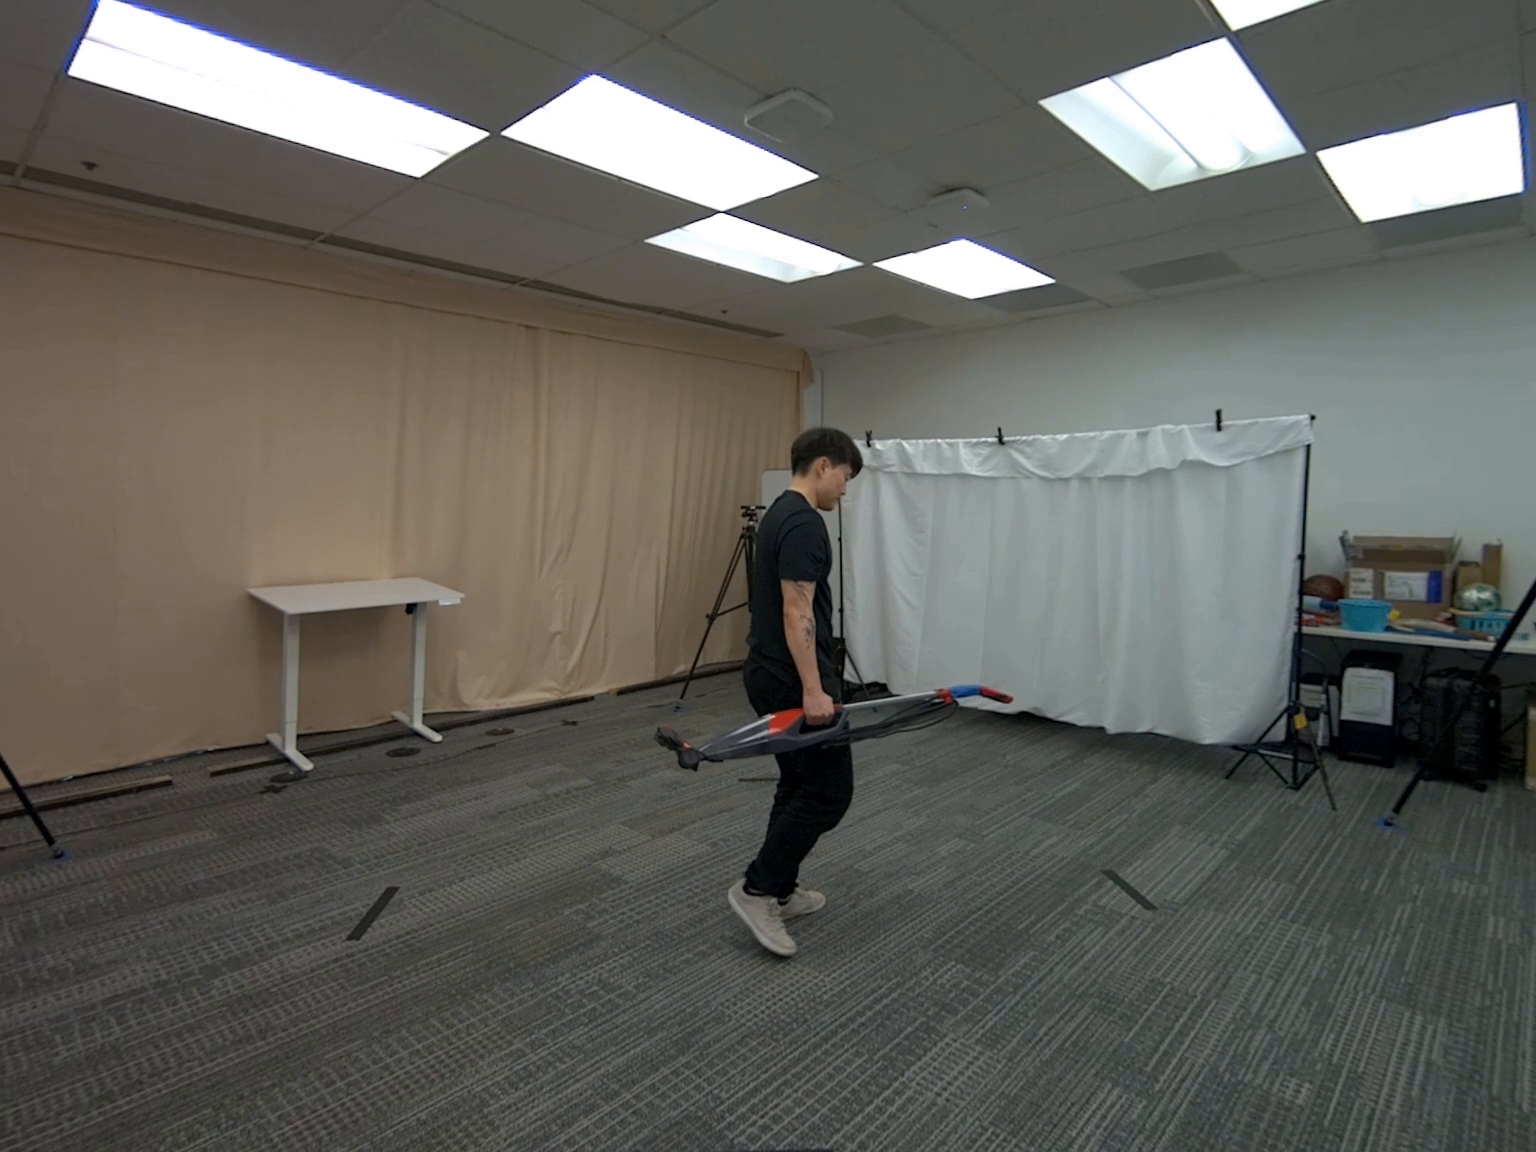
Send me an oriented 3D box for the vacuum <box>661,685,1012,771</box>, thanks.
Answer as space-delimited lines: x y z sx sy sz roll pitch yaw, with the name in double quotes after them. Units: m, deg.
0.243 0.440 2.518 1.041 0.146 0.251 -7 -15 -8 "vacuum"
